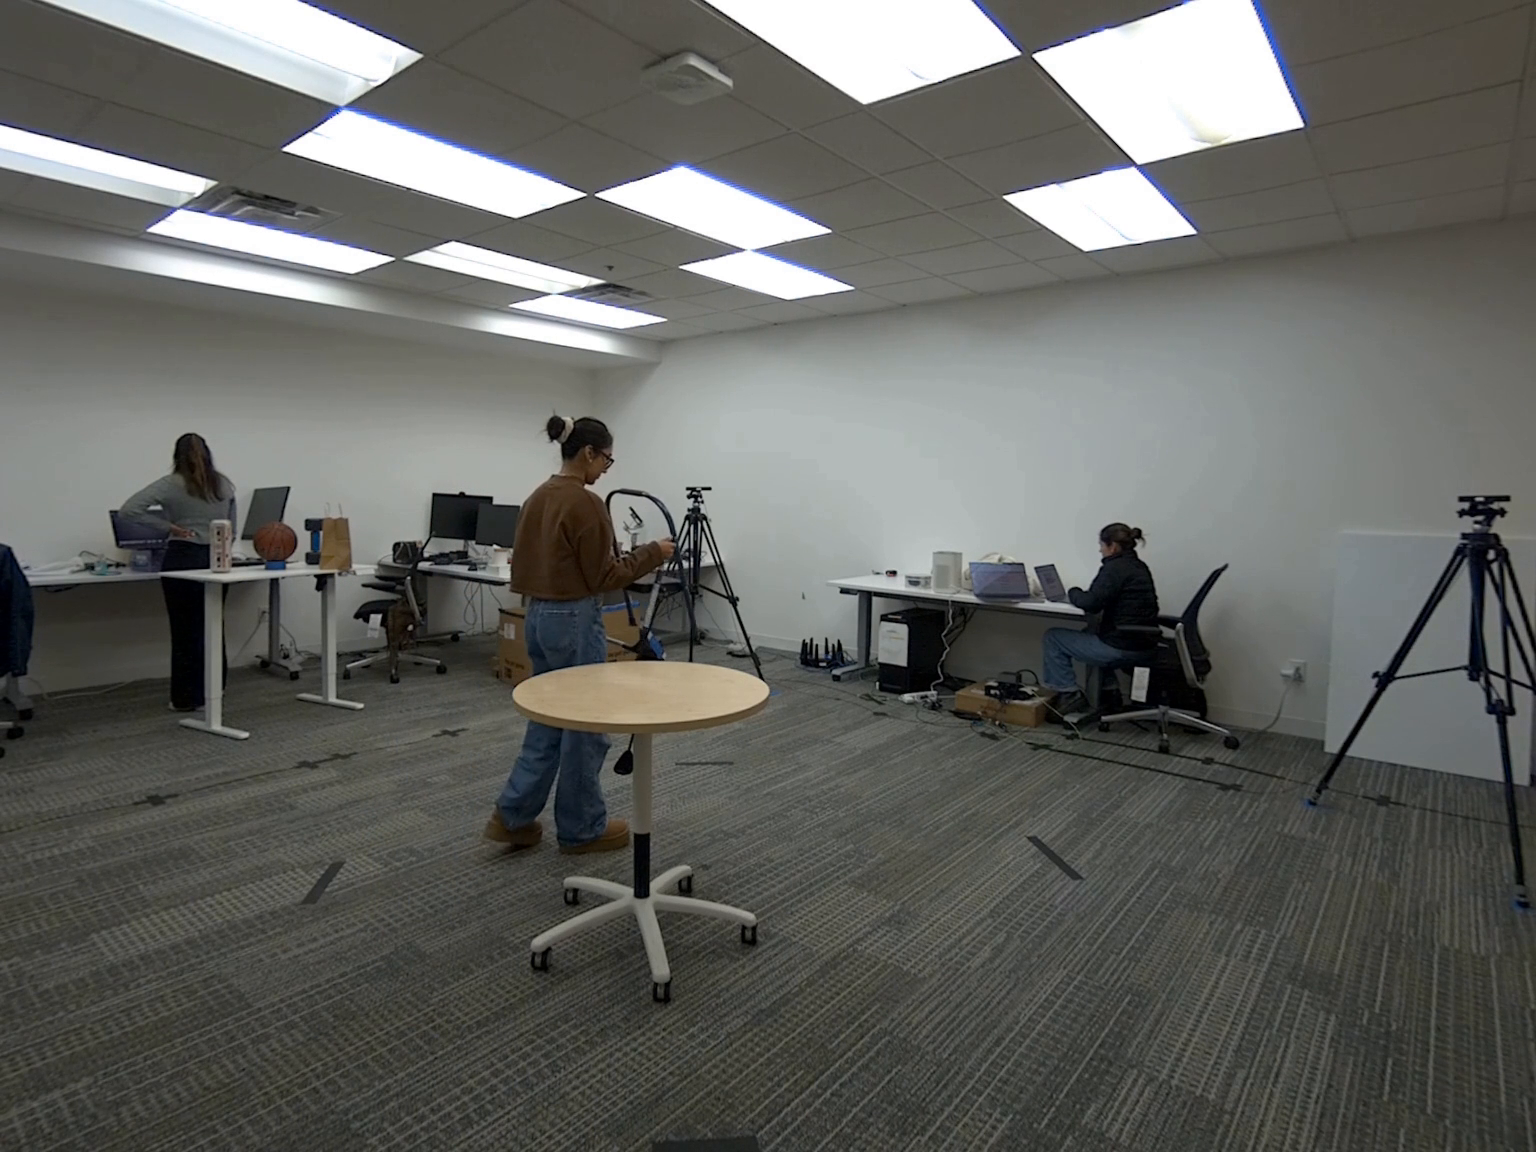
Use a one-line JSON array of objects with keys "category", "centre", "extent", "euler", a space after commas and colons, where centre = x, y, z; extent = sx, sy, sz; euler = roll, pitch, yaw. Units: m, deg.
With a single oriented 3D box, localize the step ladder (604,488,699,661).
[{"category": "step ladder", "centre": [-0.527, -0.045, 3.428], "extent": [0.446, 0.603, 0.339], "euler": [9, 7, 40]}]
